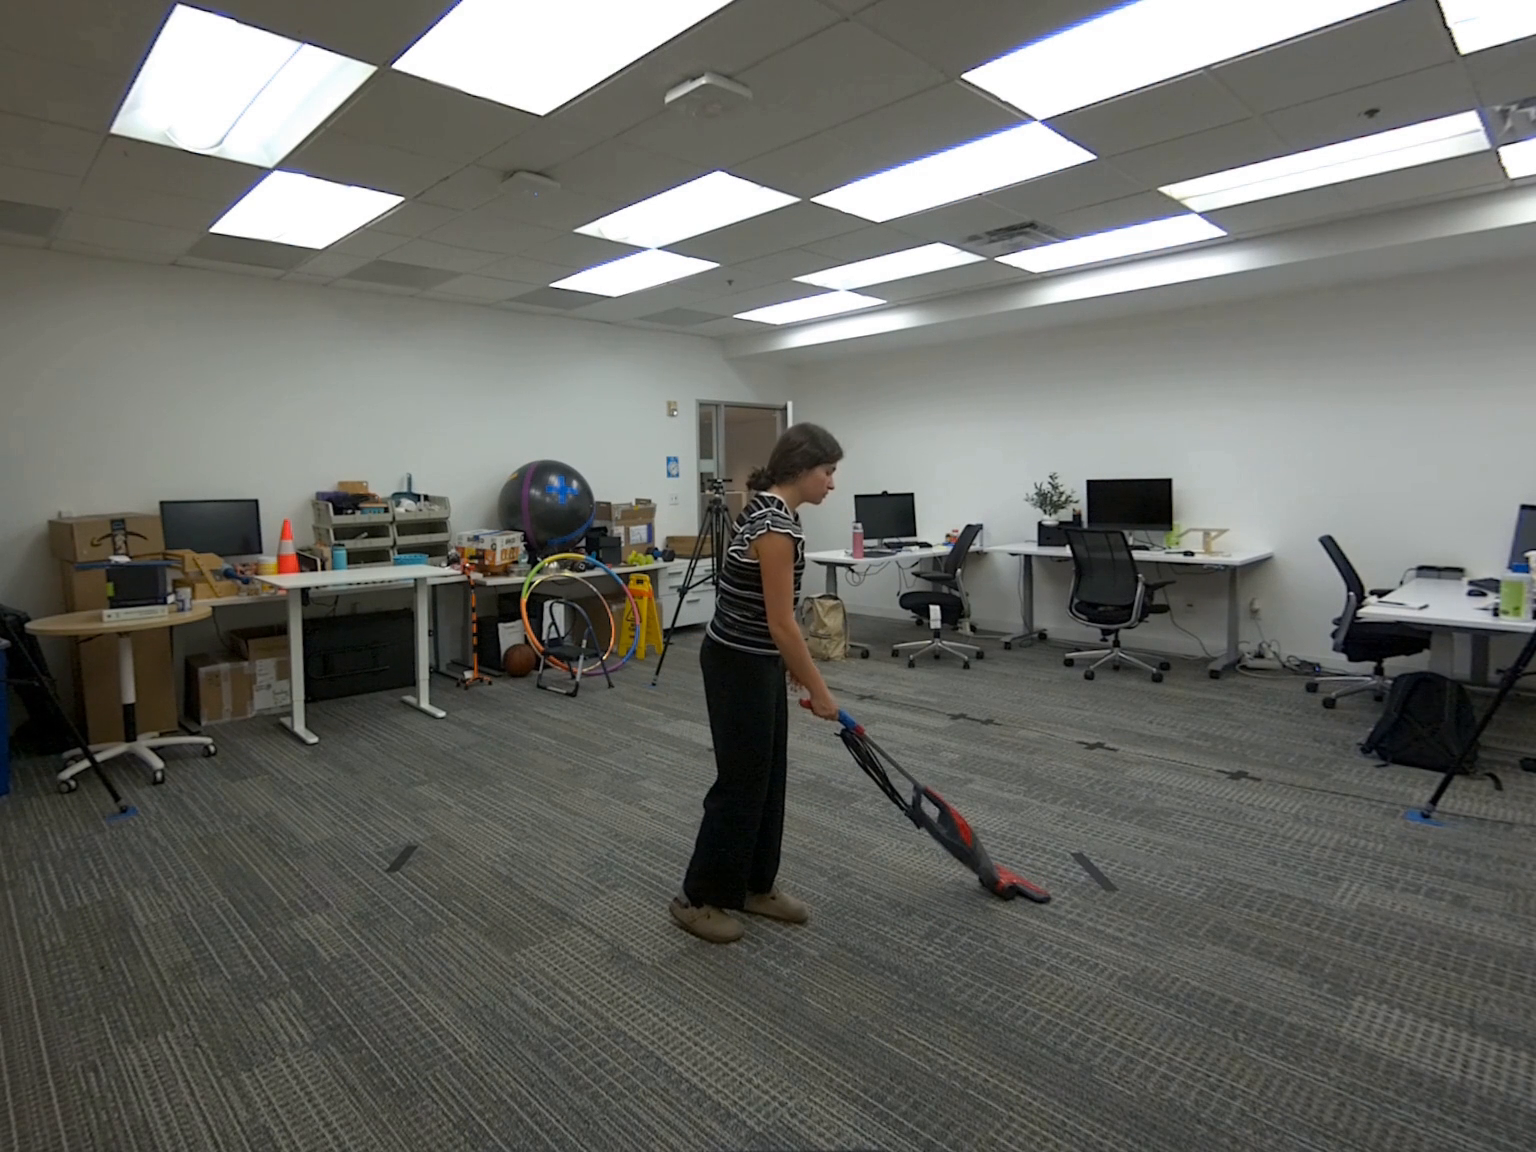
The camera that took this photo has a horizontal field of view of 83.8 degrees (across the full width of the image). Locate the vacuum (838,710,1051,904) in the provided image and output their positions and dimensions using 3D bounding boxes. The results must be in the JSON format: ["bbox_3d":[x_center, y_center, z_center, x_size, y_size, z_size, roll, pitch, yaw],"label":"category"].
[{"bbox_3d":[0.471,0.704,2.715,1.025,0.144,0.258,44,-19,-18],"label":"vacuum"}]
